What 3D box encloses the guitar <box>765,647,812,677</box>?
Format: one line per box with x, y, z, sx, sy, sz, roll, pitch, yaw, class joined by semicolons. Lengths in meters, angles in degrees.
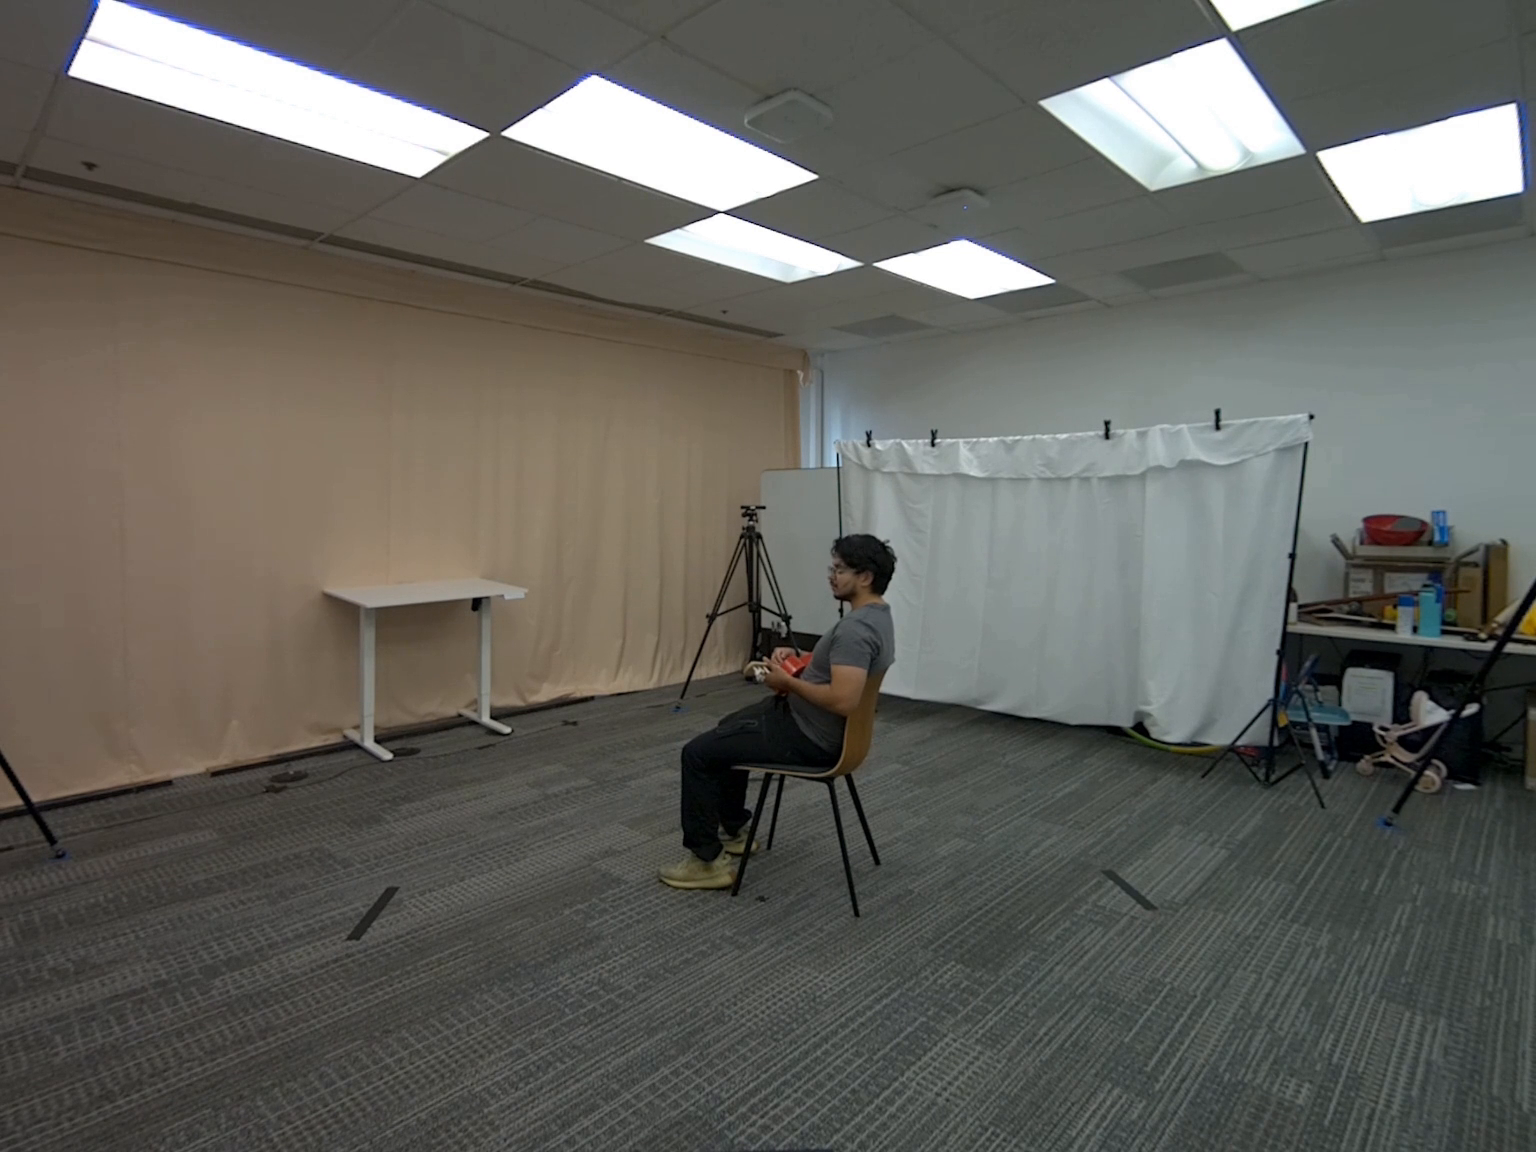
0.036;0.380;3.080;0.073;0.193;0.483;46;23;23;guitar
